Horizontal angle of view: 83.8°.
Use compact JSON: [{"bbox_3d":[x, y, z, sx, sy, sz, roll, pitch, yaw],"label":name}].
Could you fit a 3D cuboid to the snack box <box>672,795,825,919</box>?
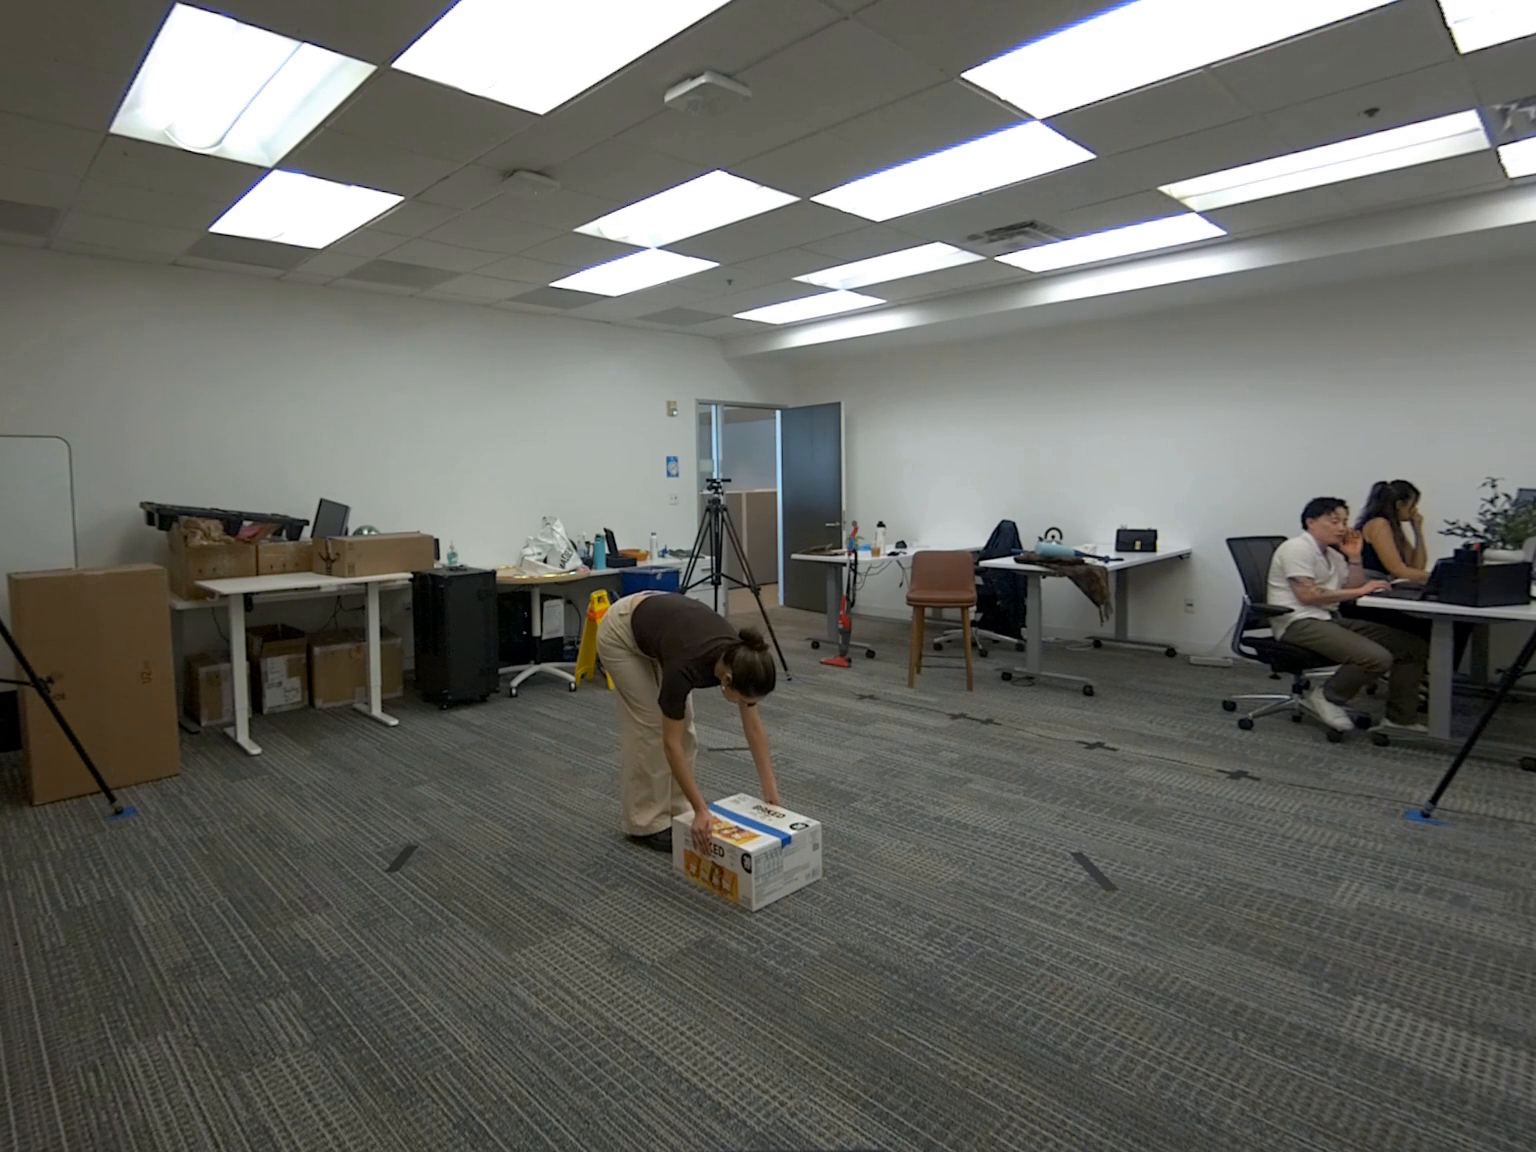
[{"bbox_3d":[-0.073,0.964,2.999,0.331,0.205,0.417,-7,8,-43],"label":"snack box"}]
